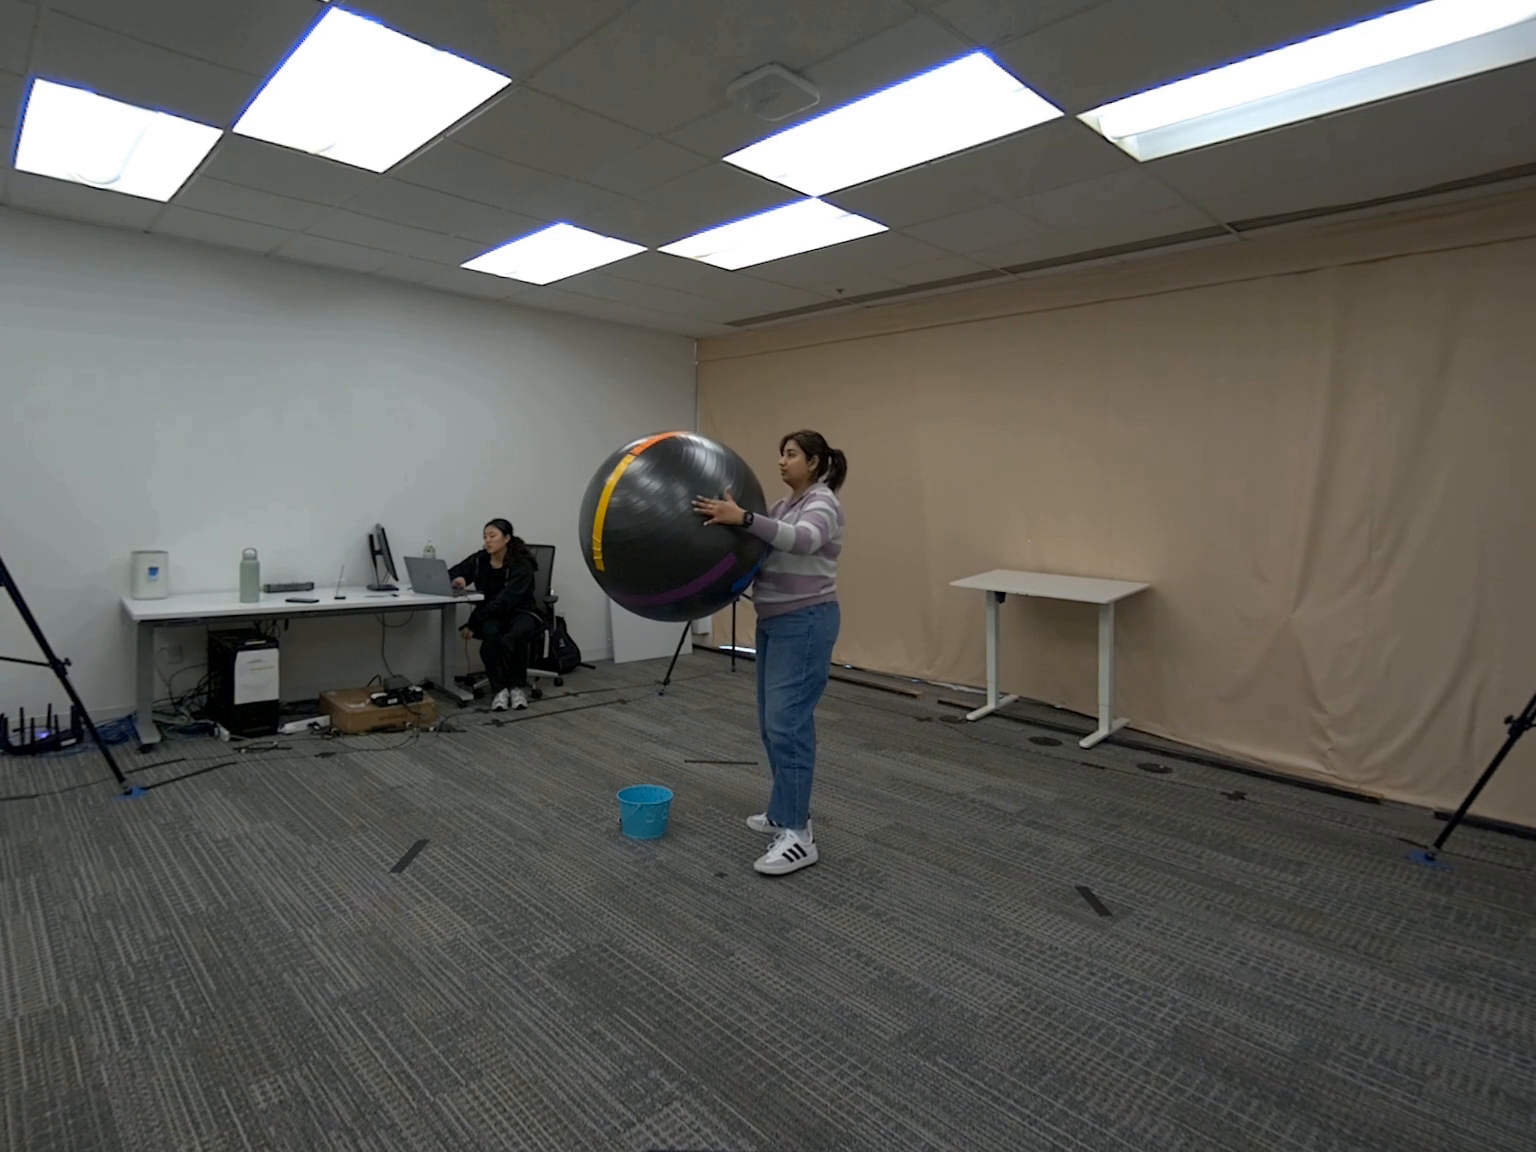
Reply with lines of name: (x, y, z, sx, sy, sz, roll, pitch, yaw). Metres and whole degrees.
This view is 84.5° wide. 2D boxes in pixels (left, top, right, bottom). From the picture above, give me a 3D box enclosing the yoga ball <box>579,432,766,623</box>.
yoga ball: (-0.383, -0.193, 3.353, 0.757, 0.756, 0.761, 1, 4, -1)
